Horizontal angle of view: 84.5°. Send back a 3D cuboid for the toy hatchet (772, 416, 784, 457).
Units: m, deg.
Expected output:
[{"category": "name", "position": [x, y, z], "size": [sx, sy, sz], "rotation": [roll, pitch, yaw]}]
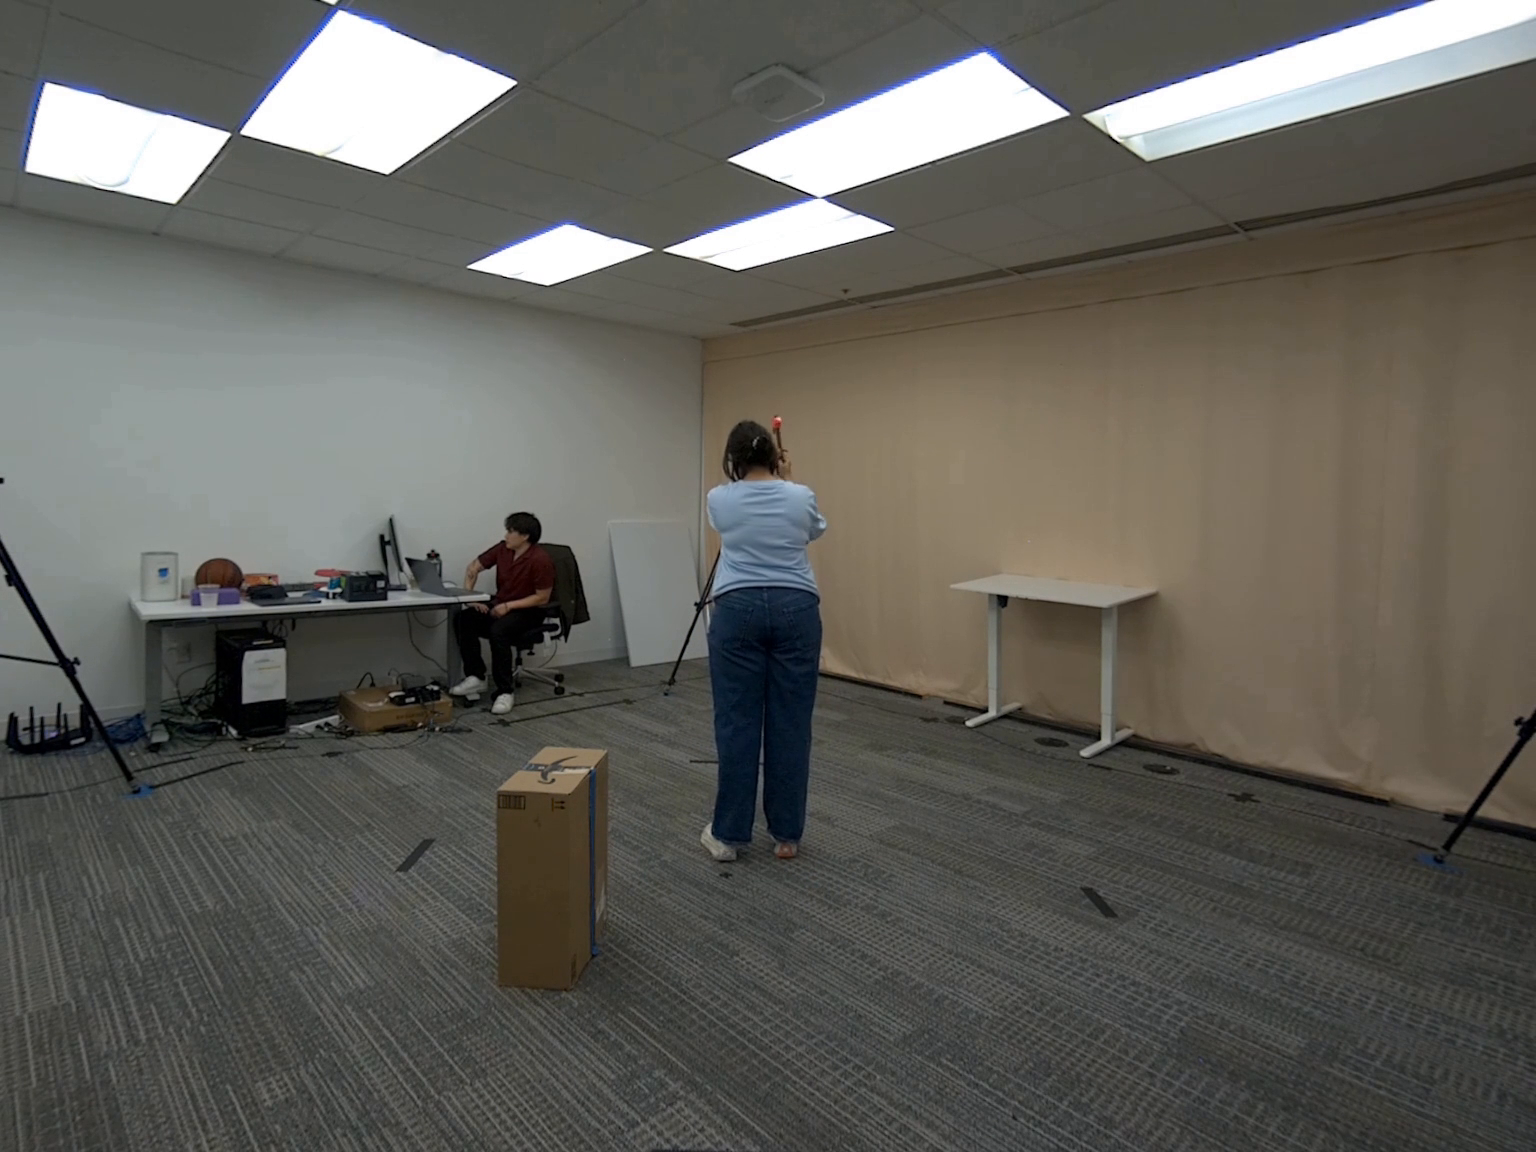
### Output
[{"category": "toy hatchet", "position": [0.025, -0.546, 3.691], "size": [0.029, 0.265, 0.134], "rotation": [-10, 24, -16]}]
